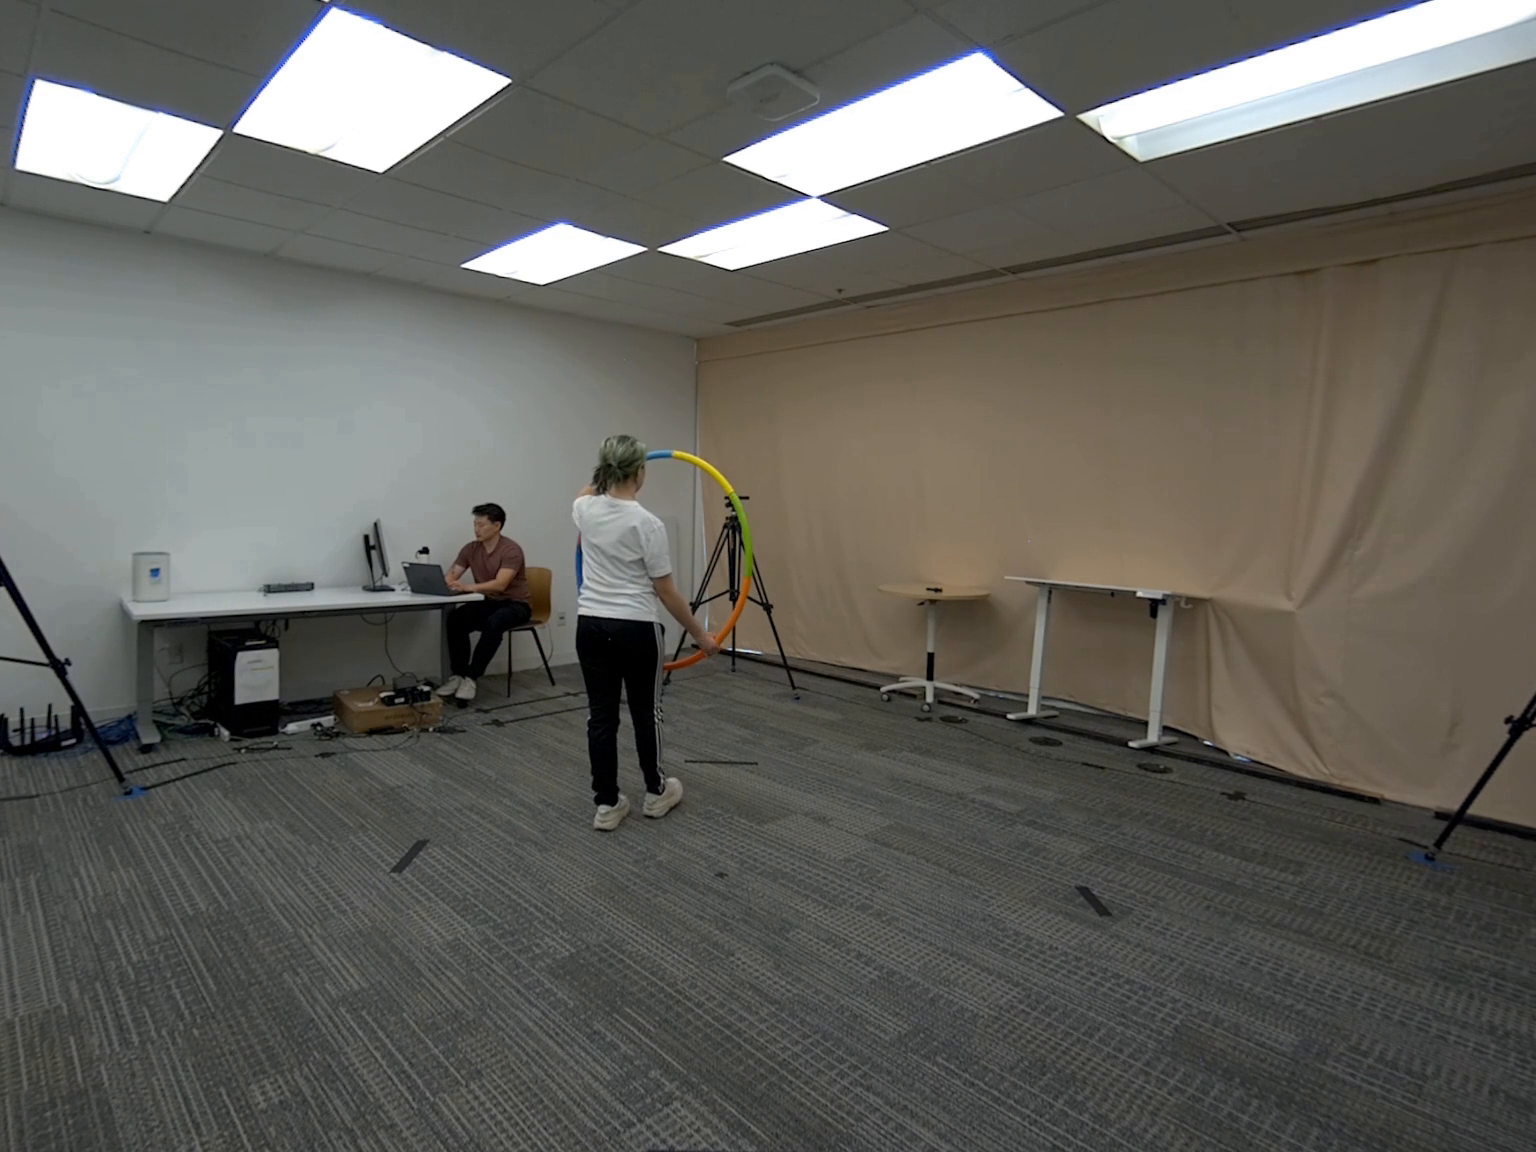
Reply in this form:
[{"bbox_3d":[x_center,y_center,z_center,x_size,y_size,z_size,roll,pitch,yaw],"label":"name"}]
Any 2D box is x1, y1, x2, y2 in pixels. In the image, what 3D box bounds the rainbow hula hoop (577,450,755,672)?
[{"bbox_3d":[-0.497,-0.073,3.808,1.001,0.979,0.035,4,-2,32],"label":"rainbow hula hoop"}]
